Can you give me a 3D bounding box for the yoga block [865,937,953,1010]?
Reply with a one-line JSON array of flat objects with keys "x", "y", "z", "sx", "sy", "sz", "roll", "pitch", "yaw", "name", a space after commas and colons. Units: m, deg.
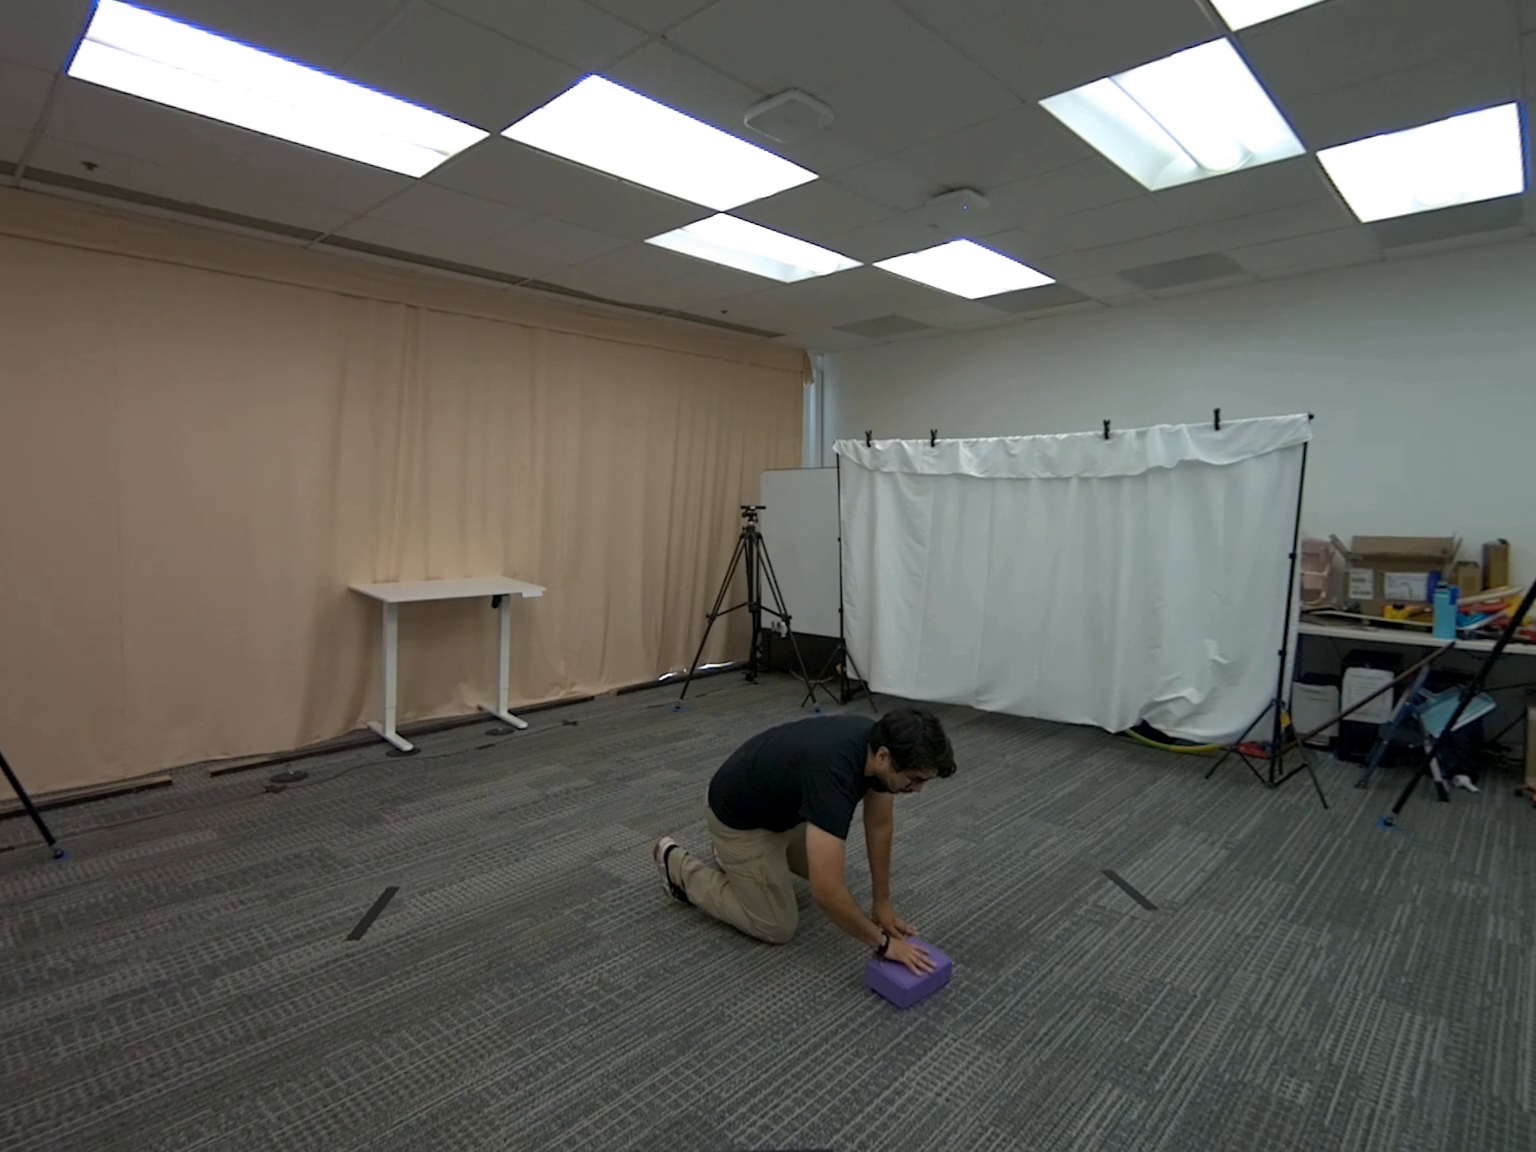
[{"x": 0.417, "y": 1.144, "z": 2.428, "sx": 0.222, "sy": 0.076, "sz": 0.154, "roll": -6, "pitch": 15, "yaw": -41, "name": "yoga block"}]
